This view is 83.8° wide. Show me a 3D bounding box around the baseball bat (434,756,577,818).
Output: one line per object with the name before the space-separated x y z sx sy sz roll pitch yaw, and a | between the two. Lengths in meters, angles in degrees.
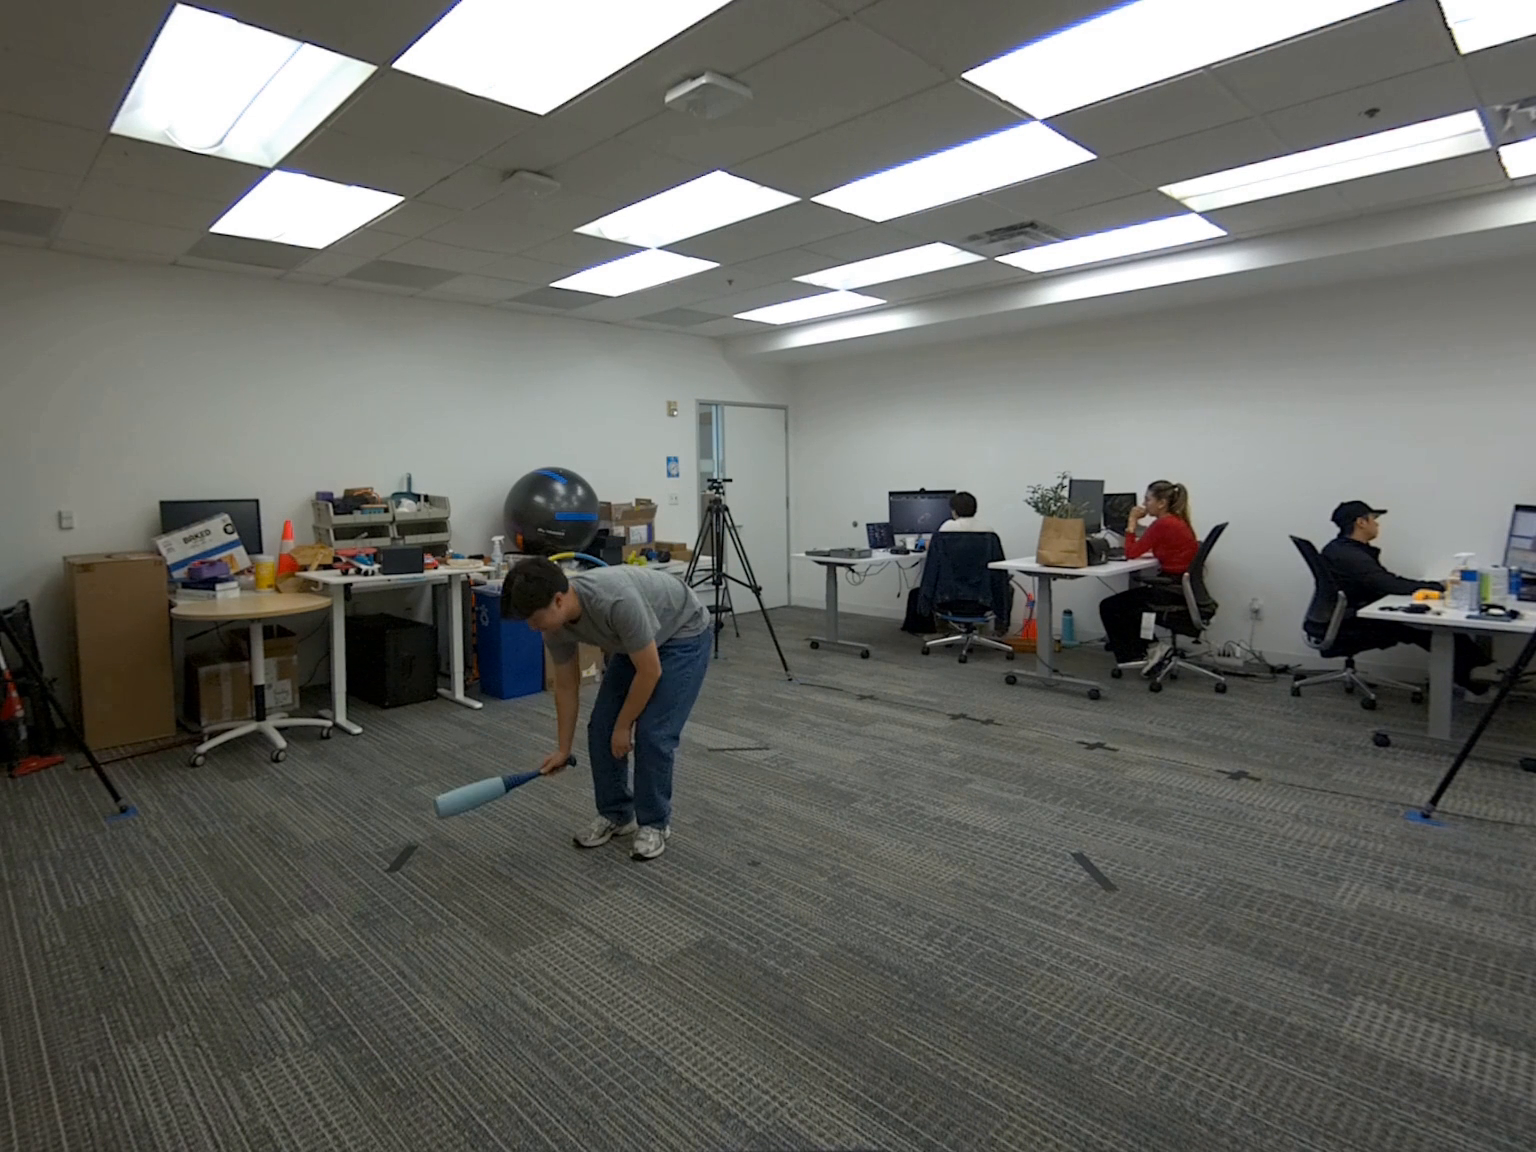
baseball bat | -0.971 0.784 3.219 0.533 0.088 0.091 -15 11 -29
